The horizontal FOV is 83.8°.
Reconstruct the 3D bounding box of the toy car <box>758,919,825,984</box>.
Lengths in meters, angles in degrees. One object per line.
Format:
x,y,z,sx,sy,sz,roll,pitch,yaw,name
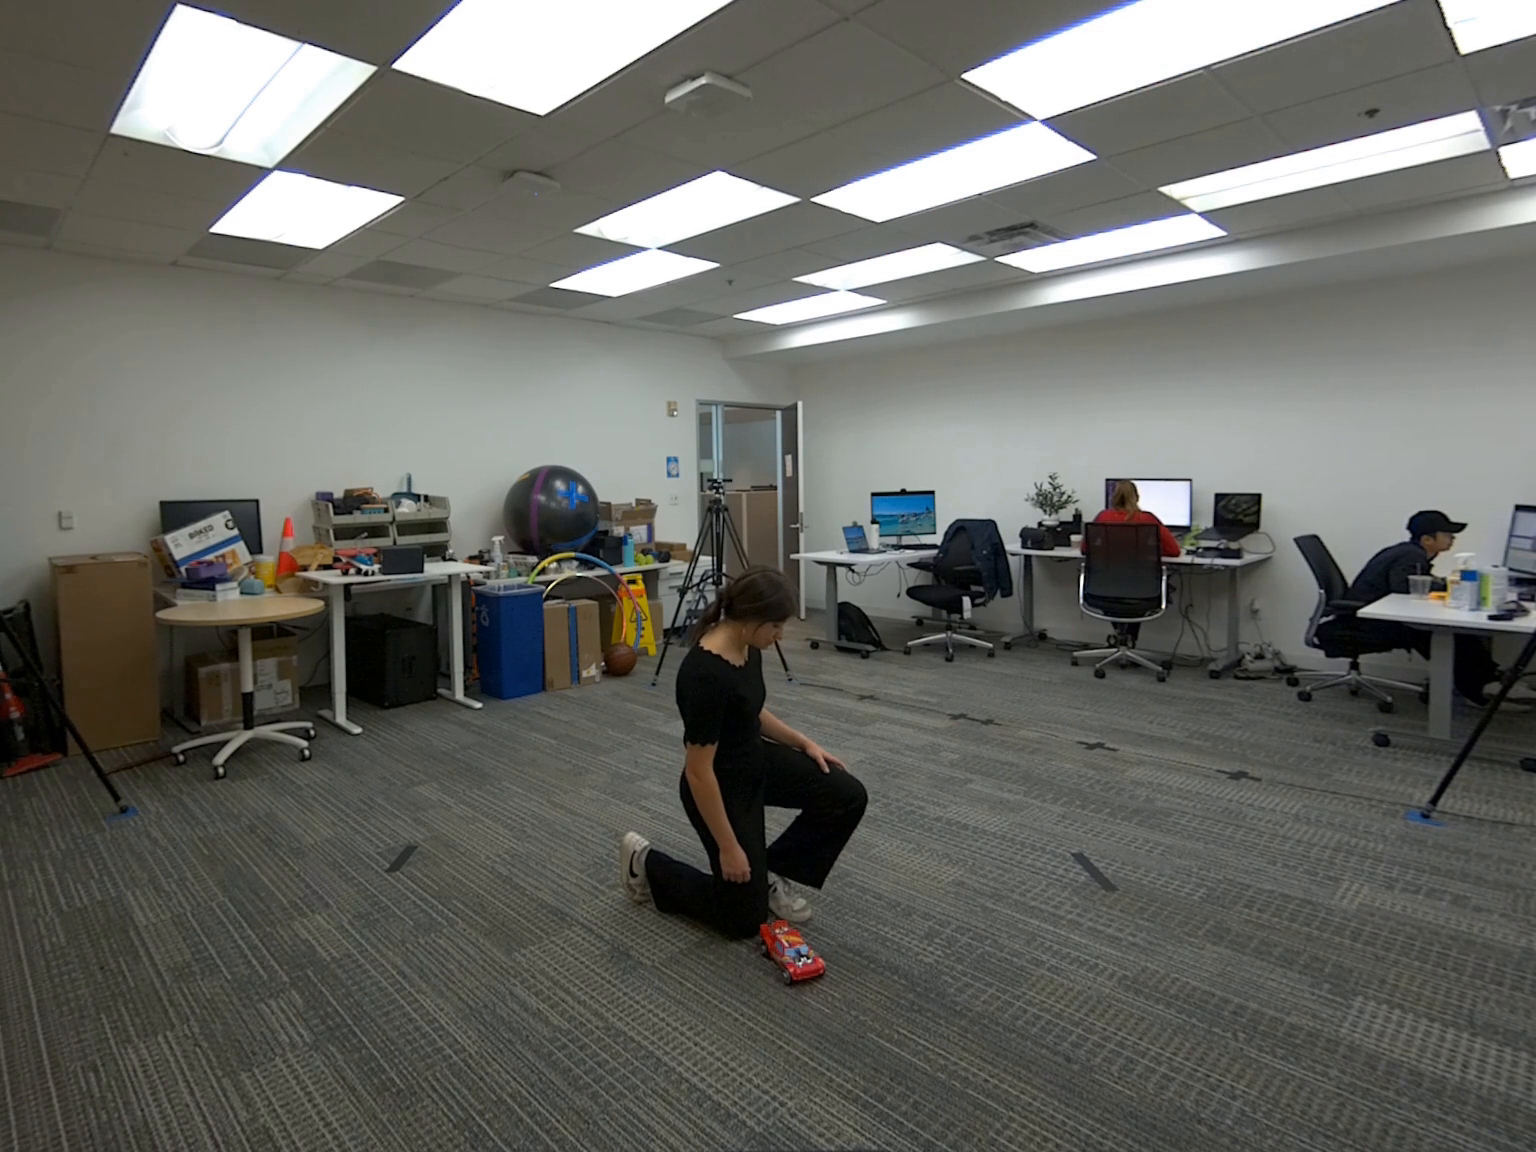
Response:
0.059,1.089,2.470,0.128,0.082,0.263,-5,18,-23,toy car
